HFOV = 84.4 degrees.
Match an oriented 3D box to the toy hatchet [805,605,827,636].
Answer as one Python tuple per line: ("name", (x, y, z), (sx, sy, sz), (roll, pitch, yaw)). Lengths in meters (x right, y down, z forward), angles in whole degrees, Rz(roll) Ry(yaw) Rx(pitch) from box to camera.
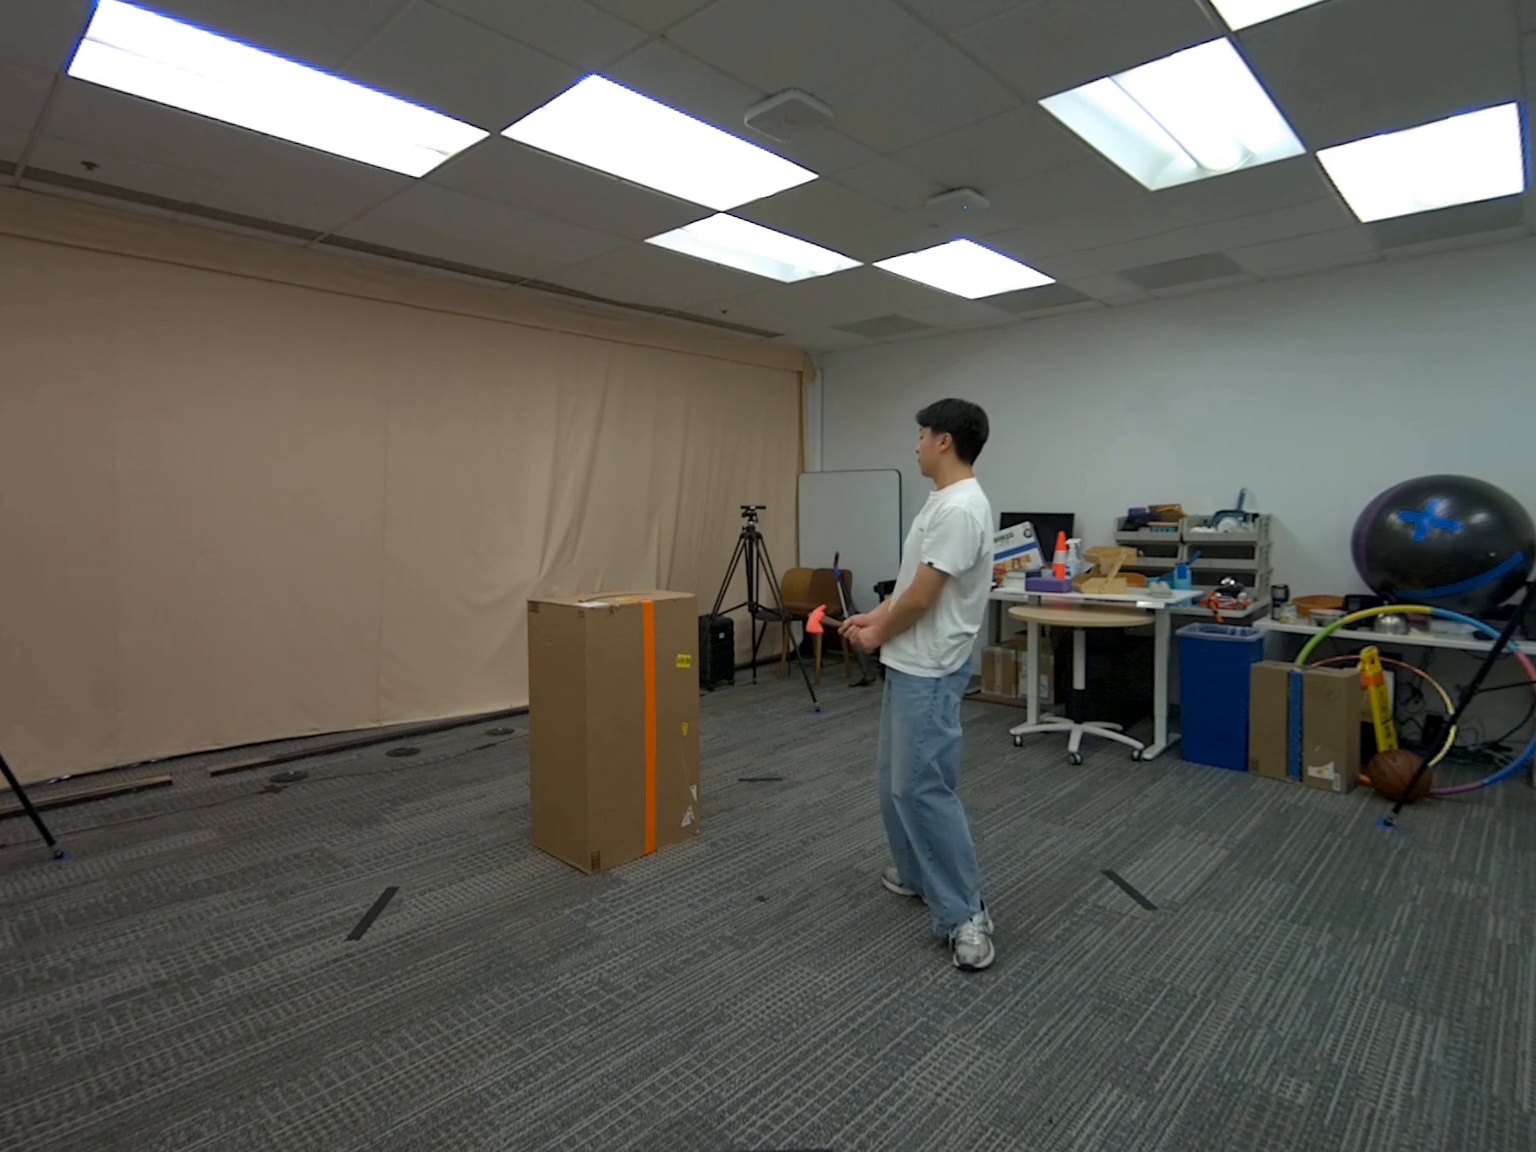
("toy hatchet", (0.251, 0.207, 2.938), (0.129, 0.029, 0.280), (-34, 48, -24))
